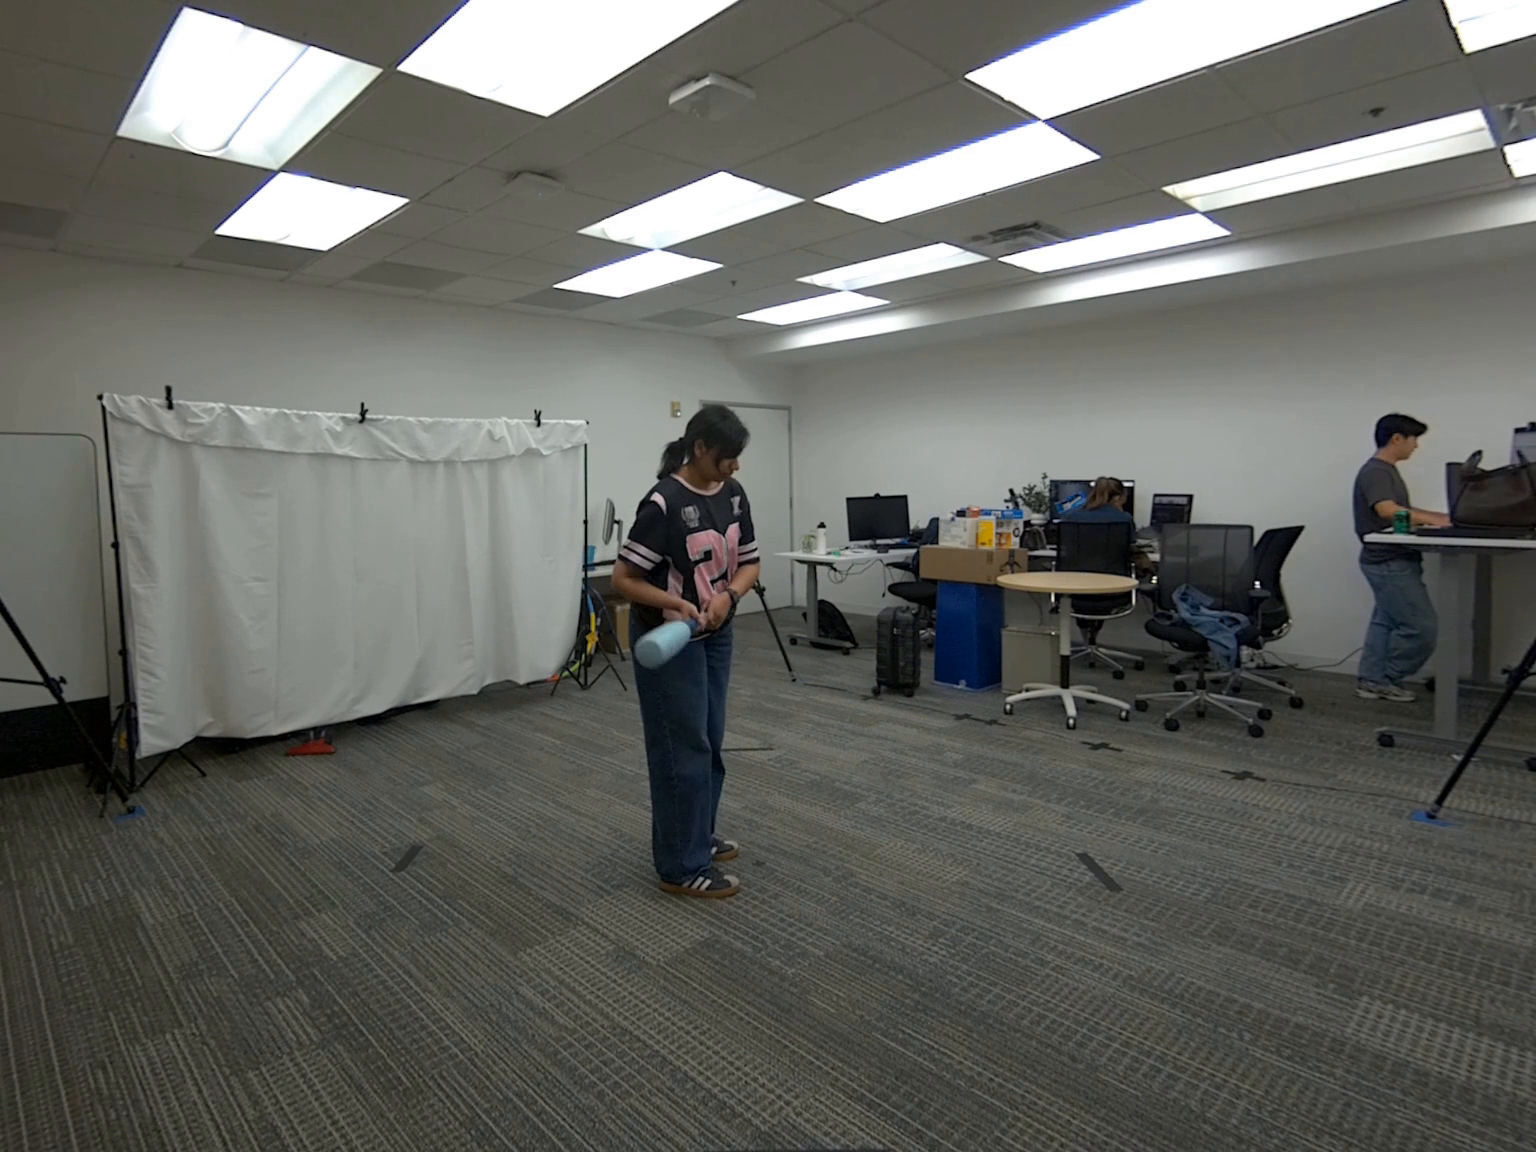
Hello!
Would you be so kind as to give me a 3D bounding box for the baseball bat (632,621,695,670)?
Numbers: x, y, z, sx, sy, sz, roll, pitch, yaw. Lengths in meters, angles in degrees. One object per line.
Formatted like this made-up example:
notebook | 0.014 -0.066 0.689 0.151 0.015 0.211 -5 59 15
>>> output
baseball bat | -0.250 0.169 2.565 0.090 0.088 0.538 0 8 14
